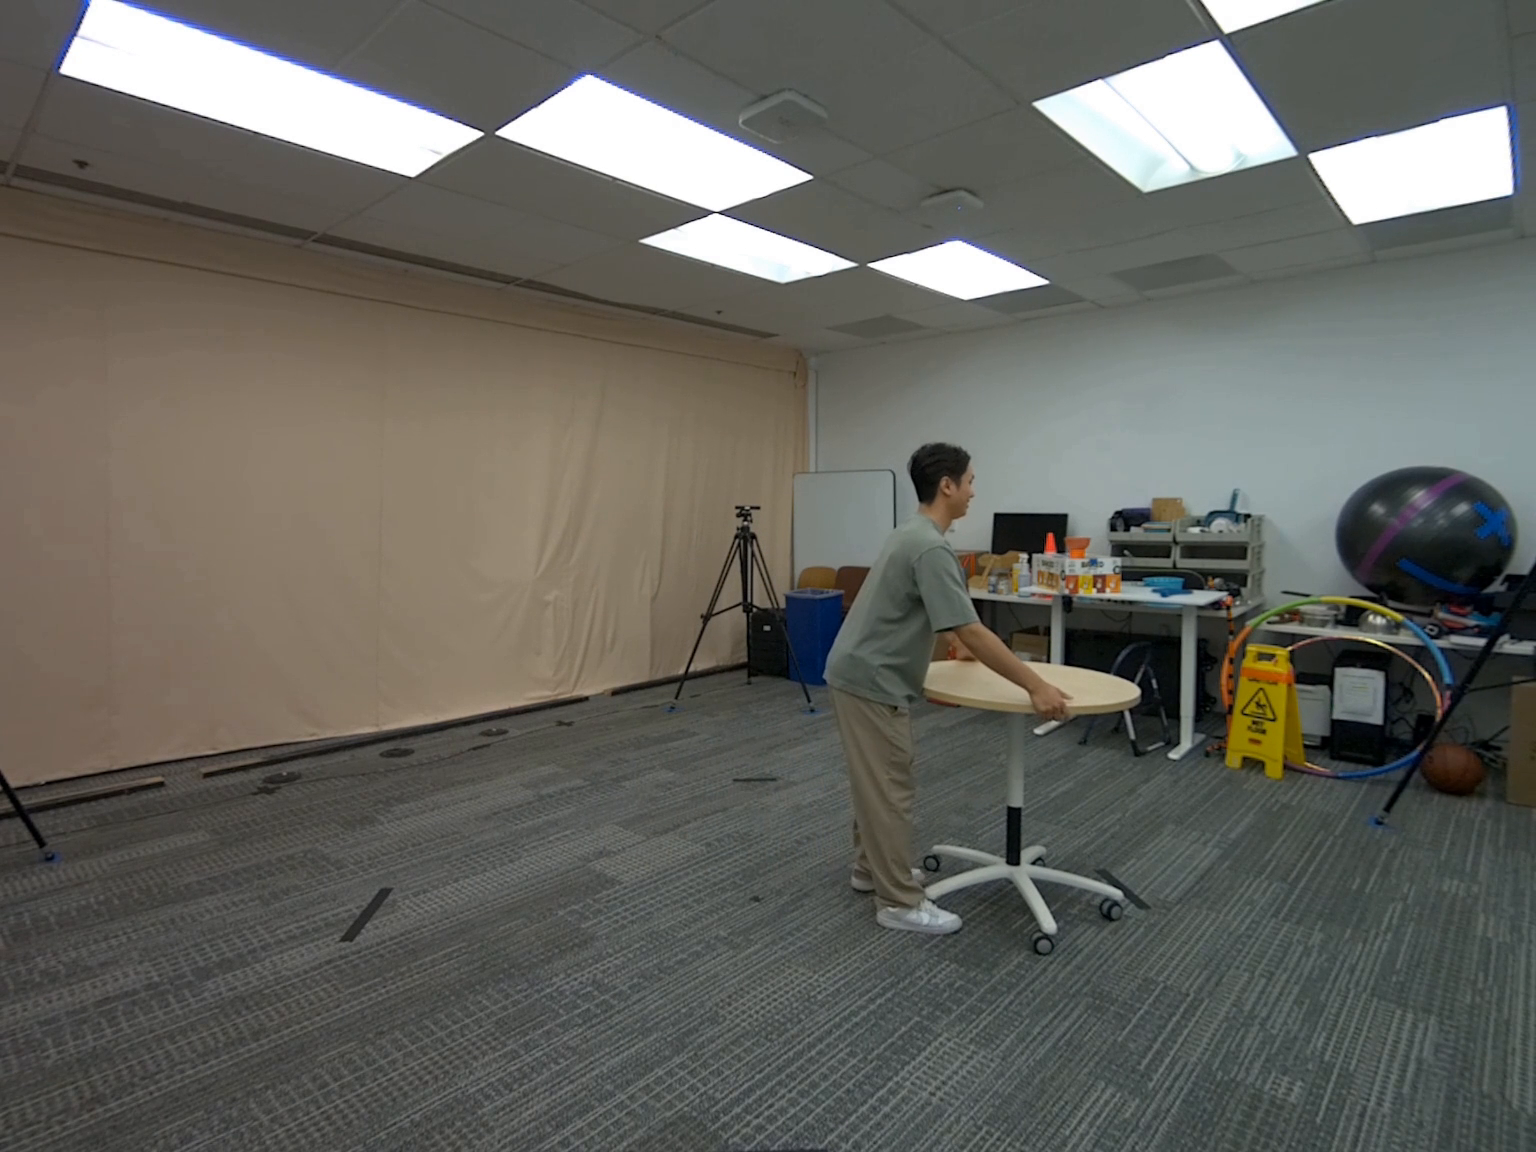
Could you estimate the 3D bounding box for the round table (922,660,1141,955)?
[{"bbox_3d":[0.859,0.752,2.918,0.784,0.785,0.787,1,3,-2],"label":"round table"}]
